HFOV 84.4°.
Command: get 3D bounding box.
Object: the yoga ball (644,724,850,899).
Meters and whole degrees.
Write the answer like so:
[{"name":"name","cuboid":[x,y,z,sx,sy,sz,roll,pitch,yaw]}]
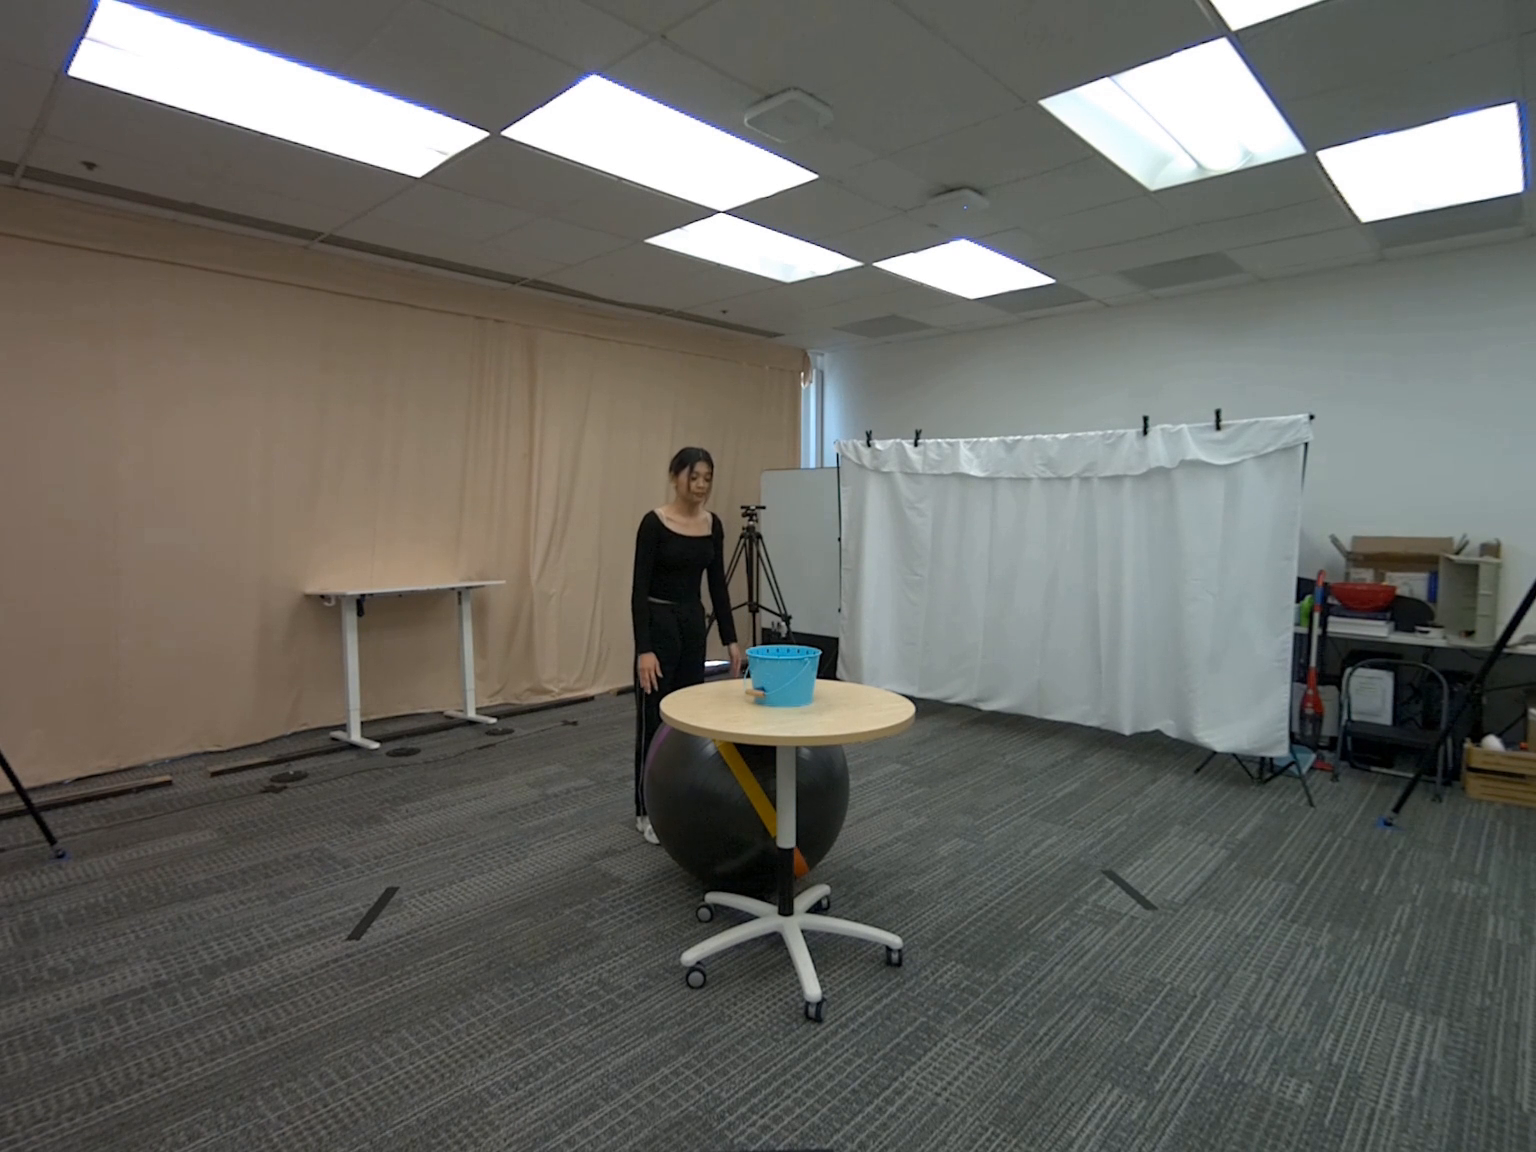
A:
[{"name":"yoga ball","cuboid":[-0.080,0.770,3.115,0.757,0.756,0.760,0,4,-2]}]
